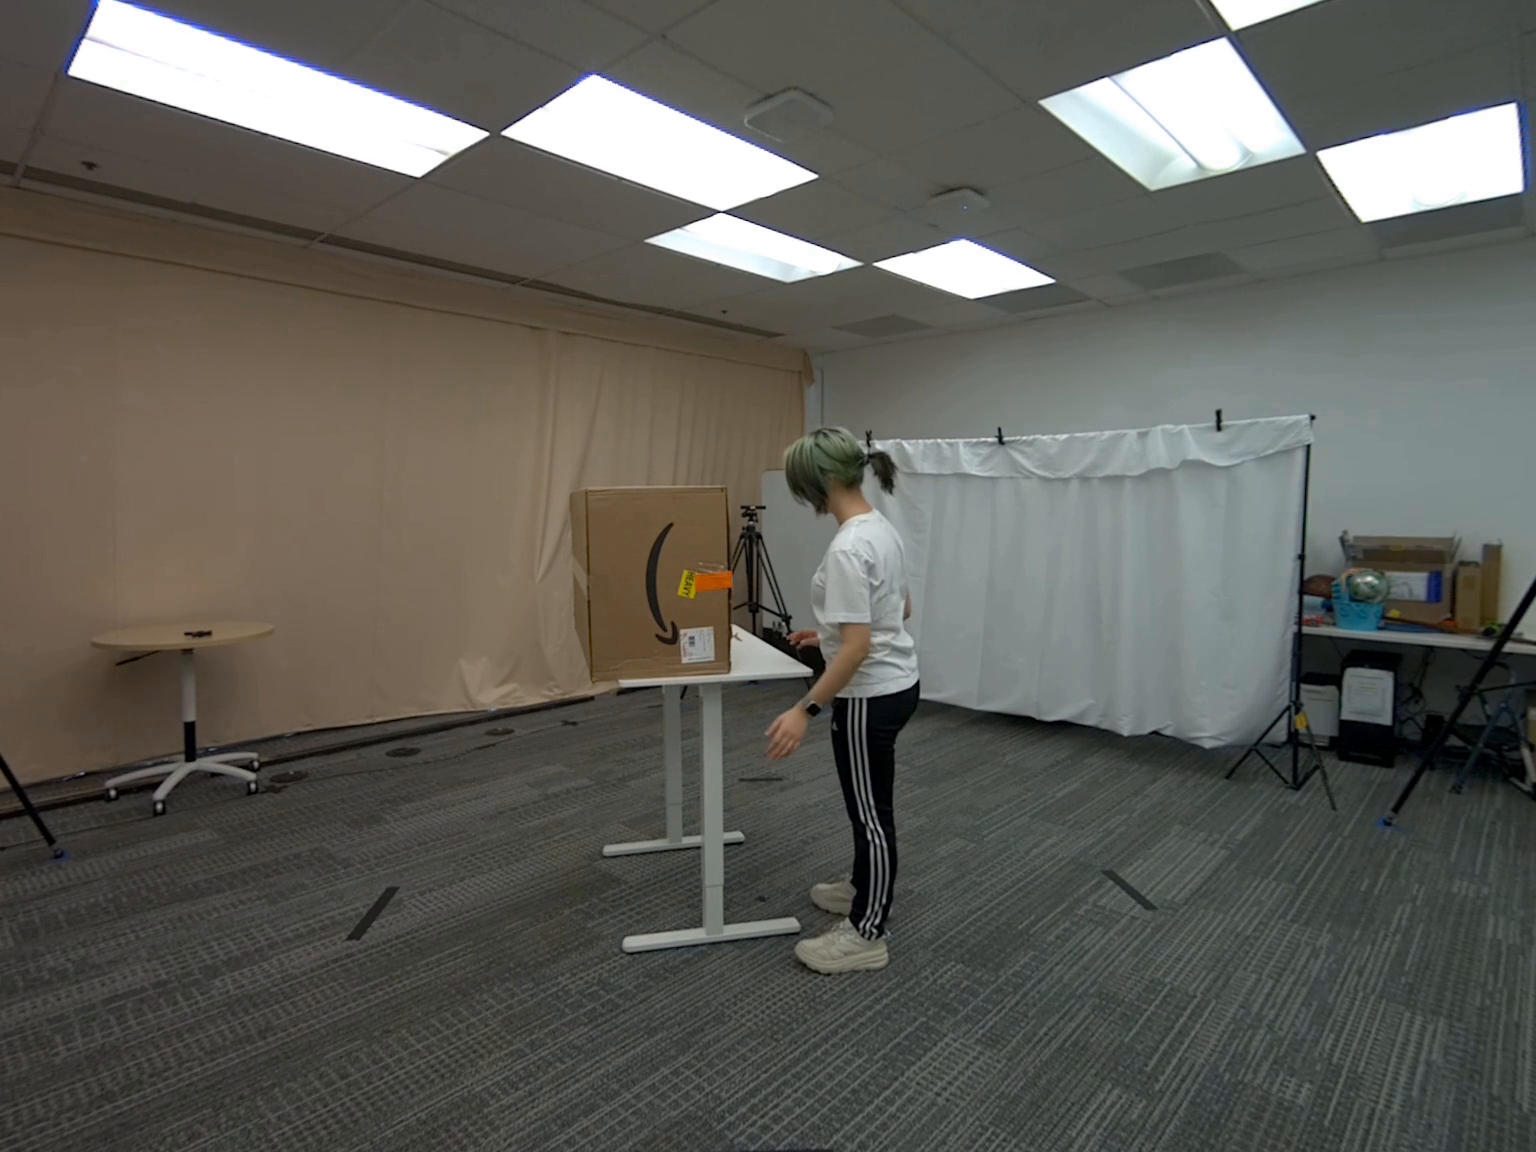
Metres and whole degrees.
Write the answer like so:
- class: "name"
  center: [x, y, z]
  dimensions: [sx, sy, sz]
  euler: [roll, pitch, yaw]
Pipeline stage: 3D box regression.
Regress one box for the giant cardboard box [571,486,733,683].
- class: "giant cardboard box"
  center: [-0.454, -0.027, 3.000]
  dimensions: [0.440, 0.582, 1.045]
  euler: [-1, 5, -15]
